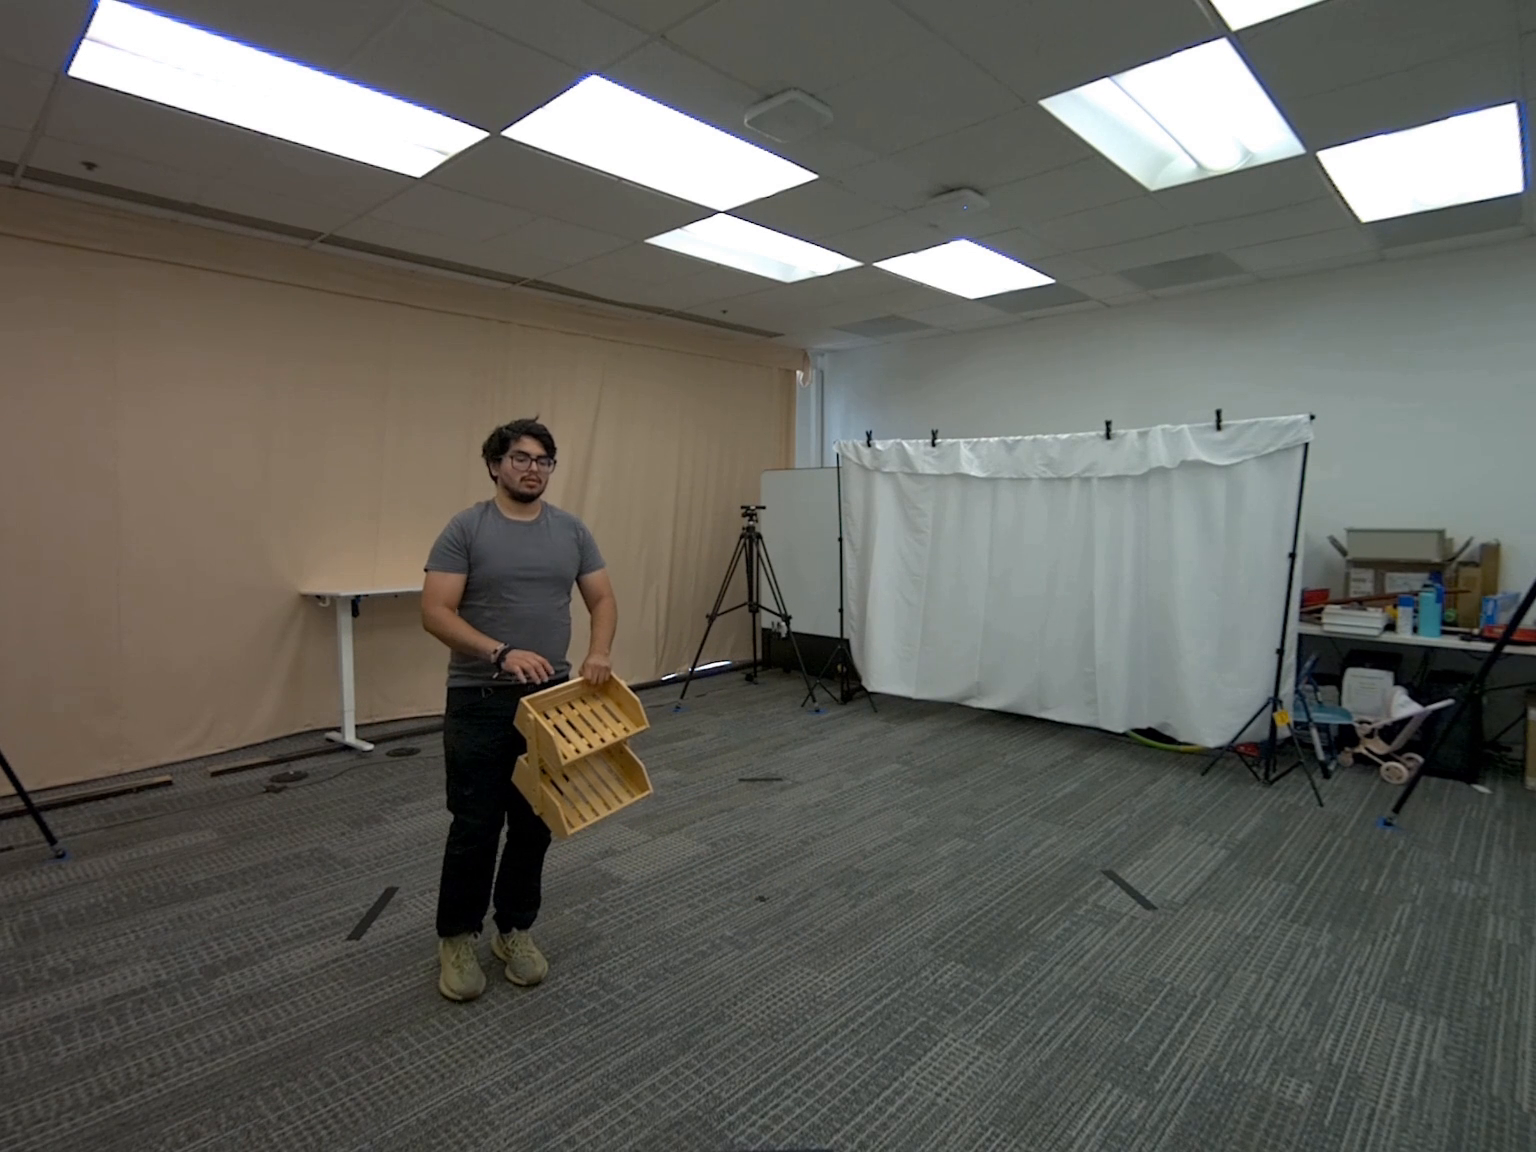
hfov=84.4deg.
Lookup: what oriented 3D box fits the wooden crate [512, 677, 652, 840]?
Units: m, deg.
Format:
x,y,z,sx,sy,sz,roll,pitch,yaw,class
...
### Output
x,y,z,sx,sy,sz,roll,pitch,yaw,class
-0.487,0.477,2.286,0.311,0.272,0.316,39,34,28,wooden crate
